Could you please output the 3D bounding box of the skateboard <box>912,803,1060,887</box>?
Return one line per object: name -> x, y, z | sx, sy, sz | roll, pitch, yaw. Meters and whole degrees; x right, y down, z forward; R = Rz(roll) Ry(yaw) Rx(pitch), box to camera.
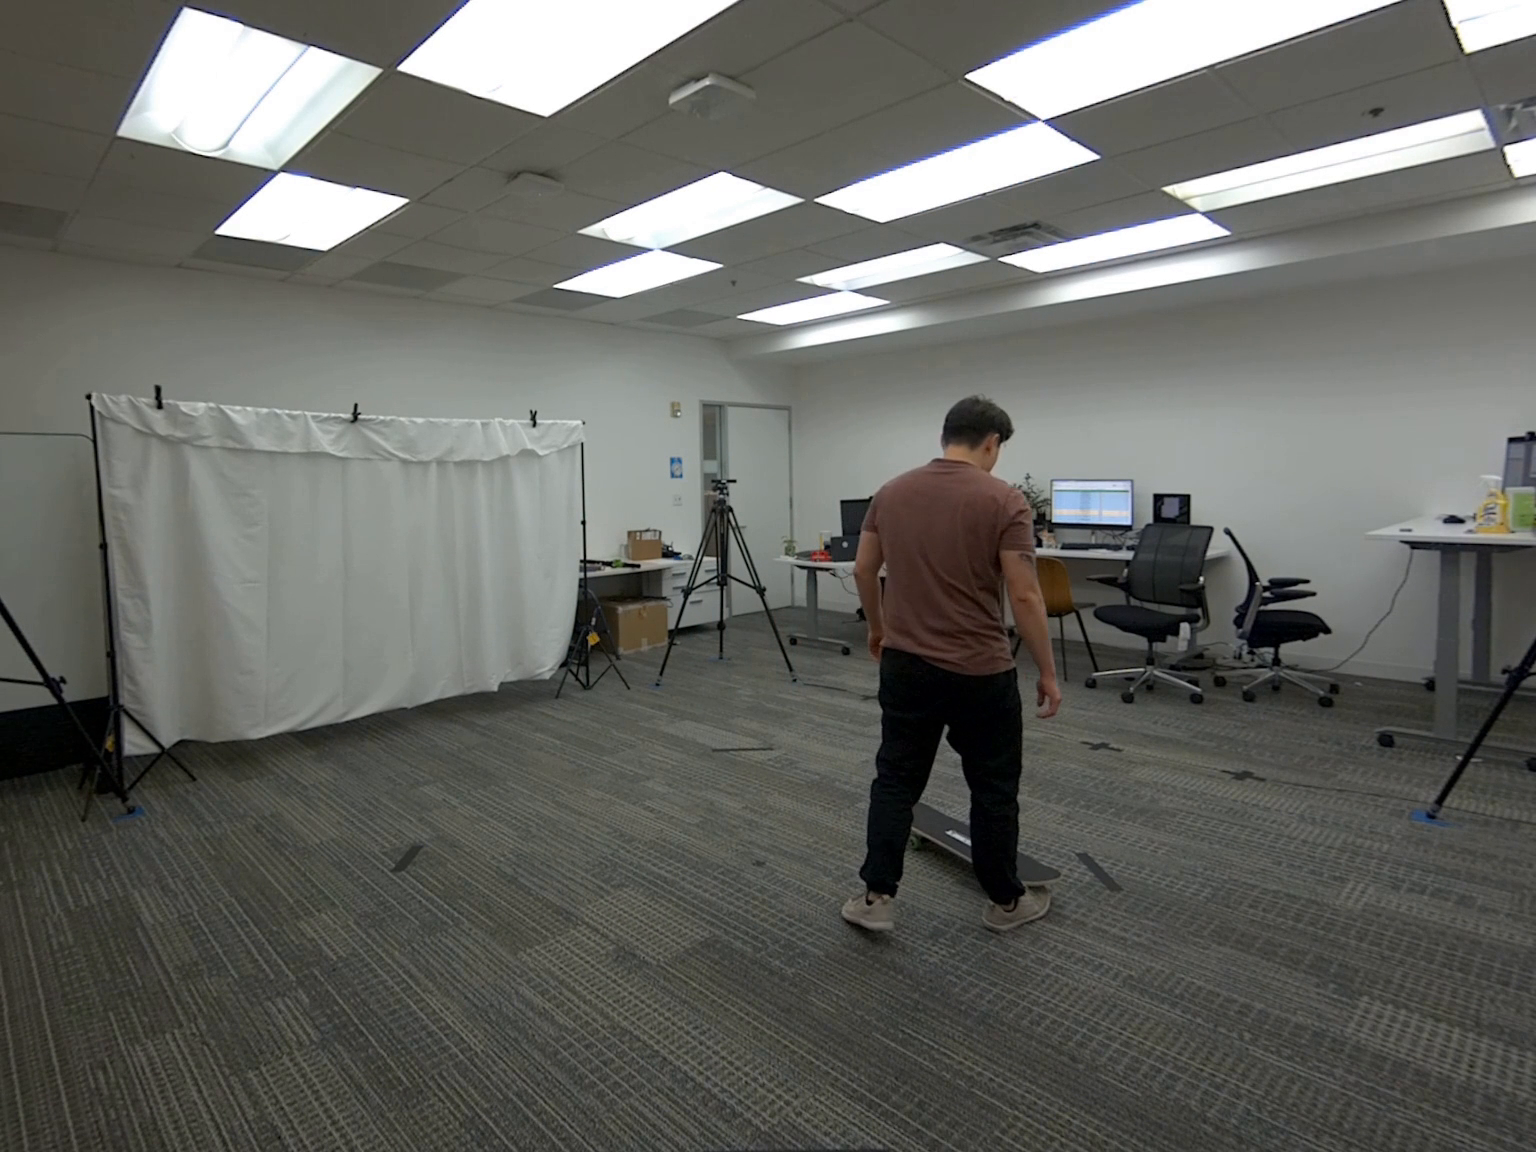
skateboard -> 0.719, 0.985, 3.060 | 0.189, 0.110, 0.806 | -5, 7, -26
